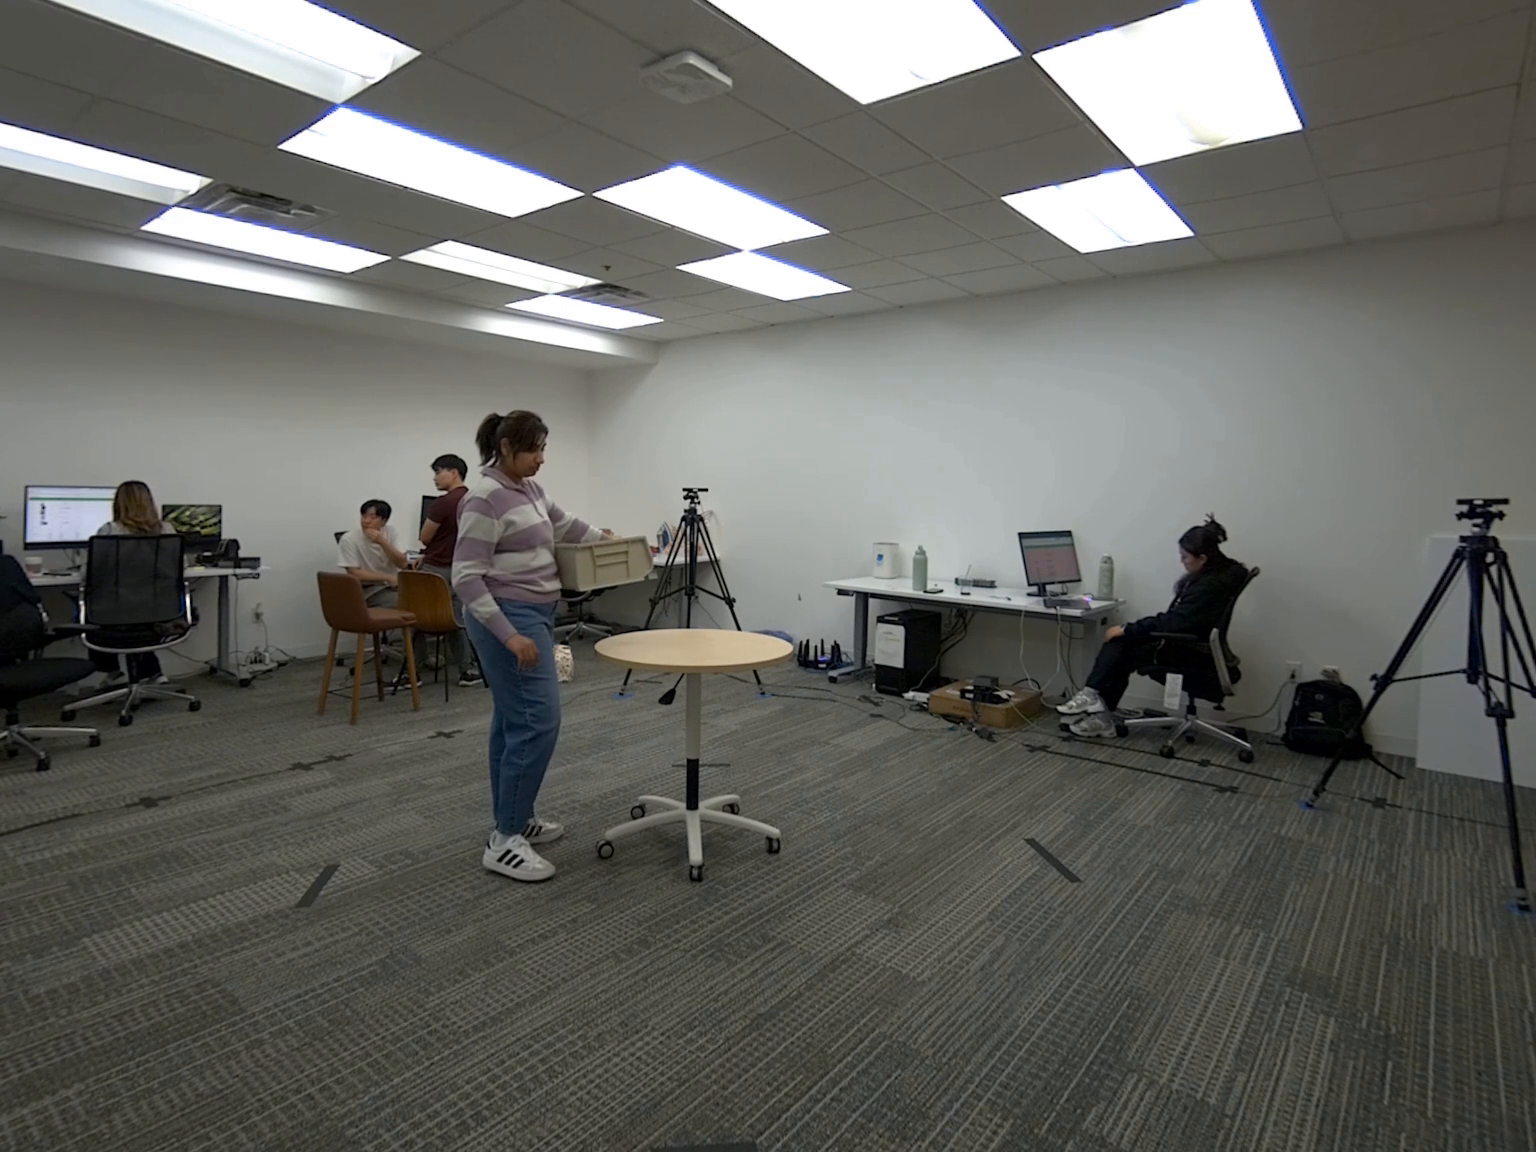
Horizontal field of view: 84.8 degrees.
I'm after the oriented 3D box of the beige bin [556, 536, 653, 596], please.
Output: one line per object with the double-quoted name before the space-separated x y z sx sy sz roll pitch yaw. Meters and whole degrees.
"beige bin" -0.753 -0.069 3.452 0.437 0.187 0.367 5 12 44
